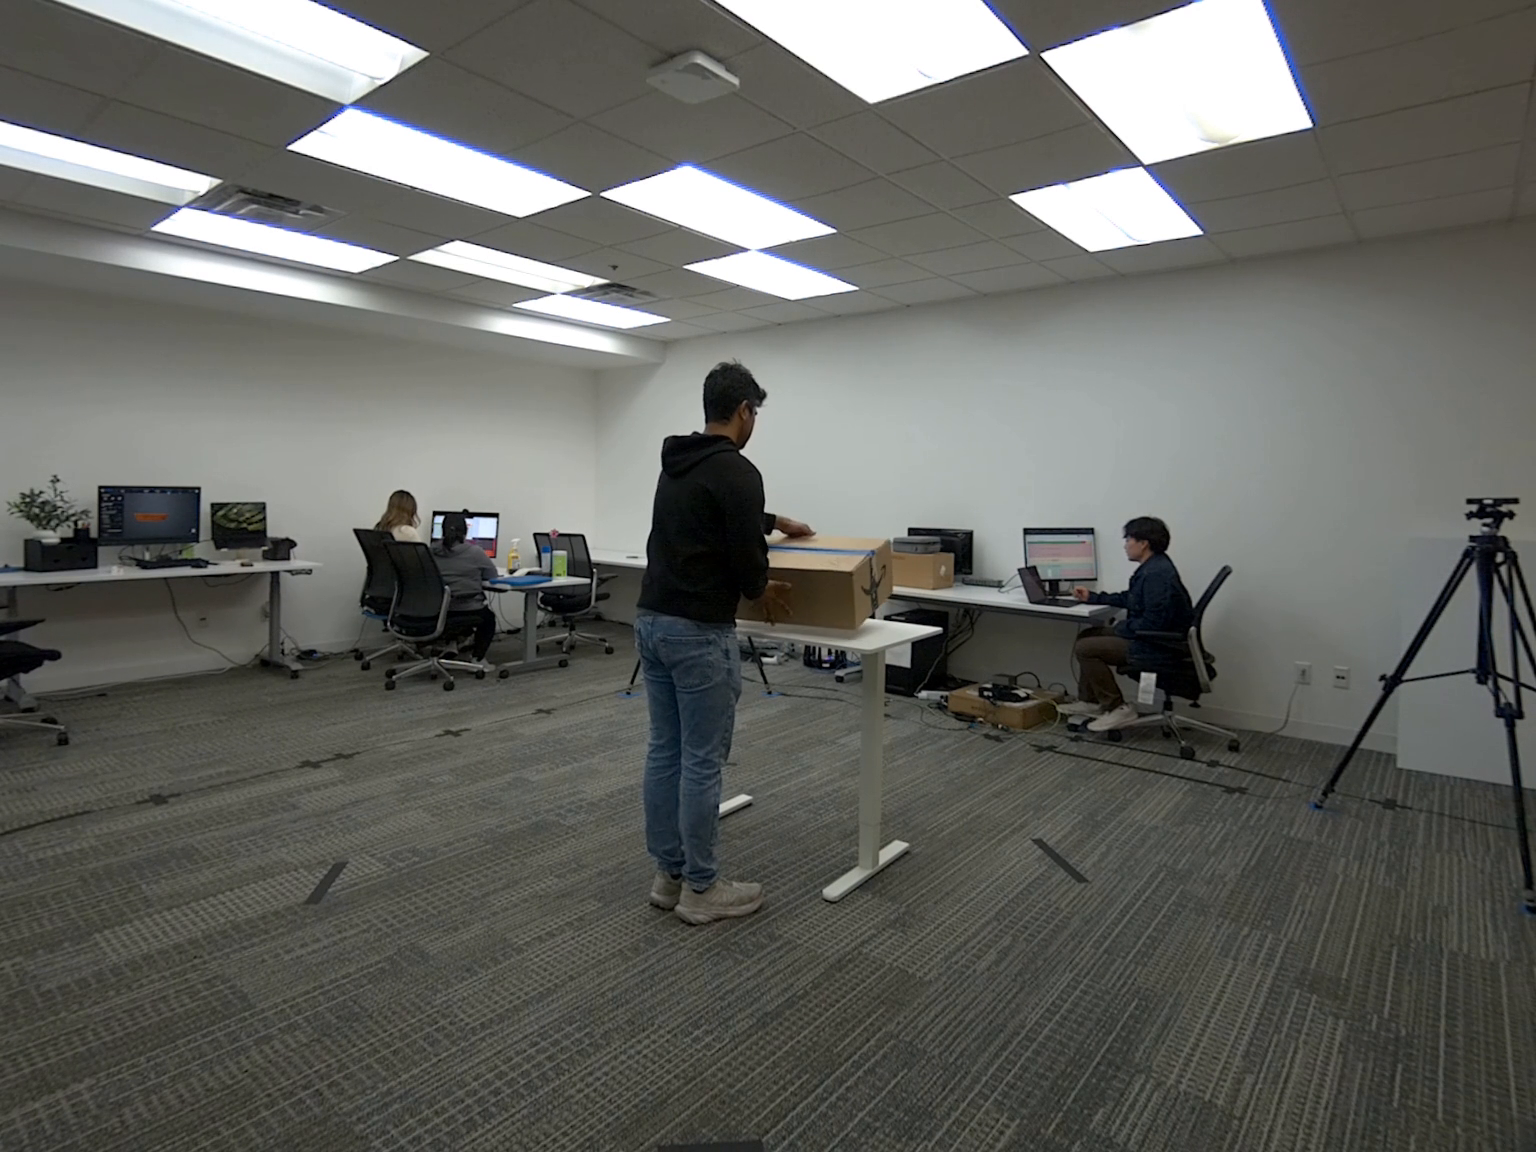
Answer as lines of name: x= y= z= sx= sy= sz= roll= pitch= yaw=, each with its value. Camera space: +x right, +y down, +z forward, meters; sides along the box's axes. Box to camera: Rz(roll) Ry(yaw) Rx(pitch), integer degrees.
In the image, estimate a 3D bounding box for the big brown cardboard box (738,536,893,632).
big brown cardboard box: x=0.113 y=-0.005 z=3.167 sx=0.605 sy=0.229 sz=0.413 roll=4 pitch=18 yaw=27
